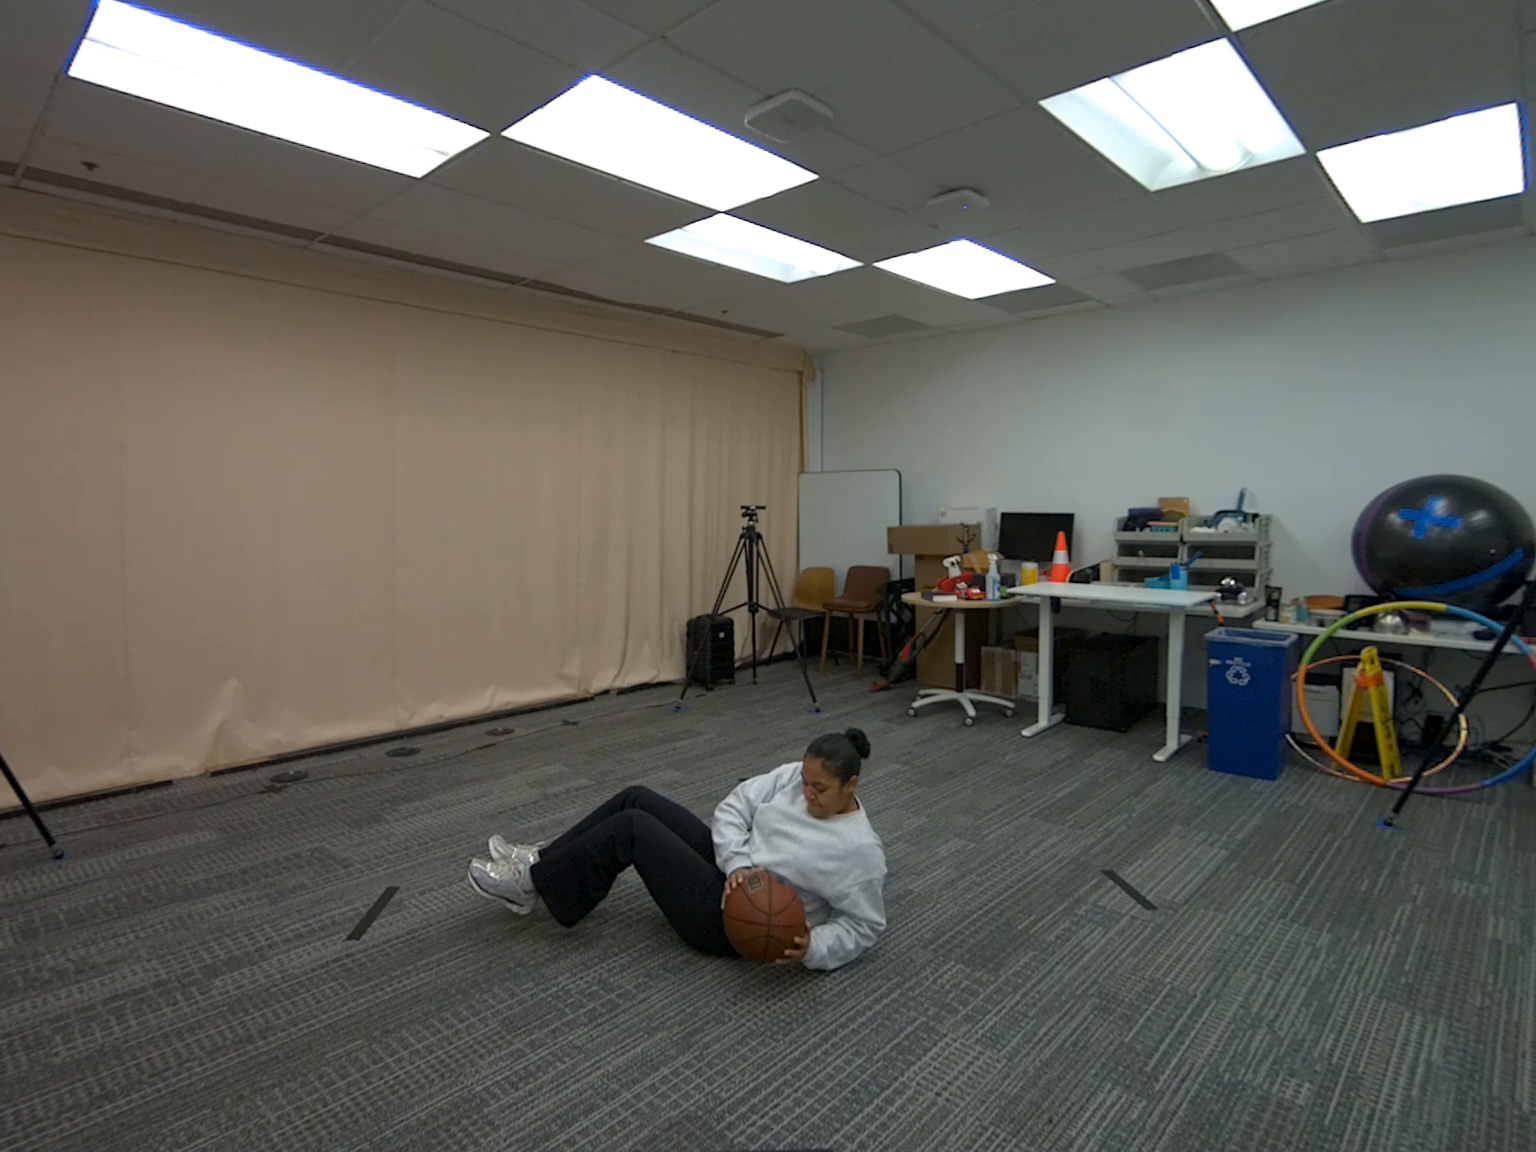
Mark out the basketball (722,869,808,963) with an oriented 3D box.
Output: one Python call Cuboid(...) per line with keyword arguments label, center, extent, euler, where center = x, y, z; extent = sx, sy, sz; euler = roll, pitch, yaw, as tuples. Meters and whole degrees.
Cuboid(label="basketball", center=(-0.008, 0.950, 2.435), extent=(0.236, 0.235, 0.237), euler=(0, 4, -2))
